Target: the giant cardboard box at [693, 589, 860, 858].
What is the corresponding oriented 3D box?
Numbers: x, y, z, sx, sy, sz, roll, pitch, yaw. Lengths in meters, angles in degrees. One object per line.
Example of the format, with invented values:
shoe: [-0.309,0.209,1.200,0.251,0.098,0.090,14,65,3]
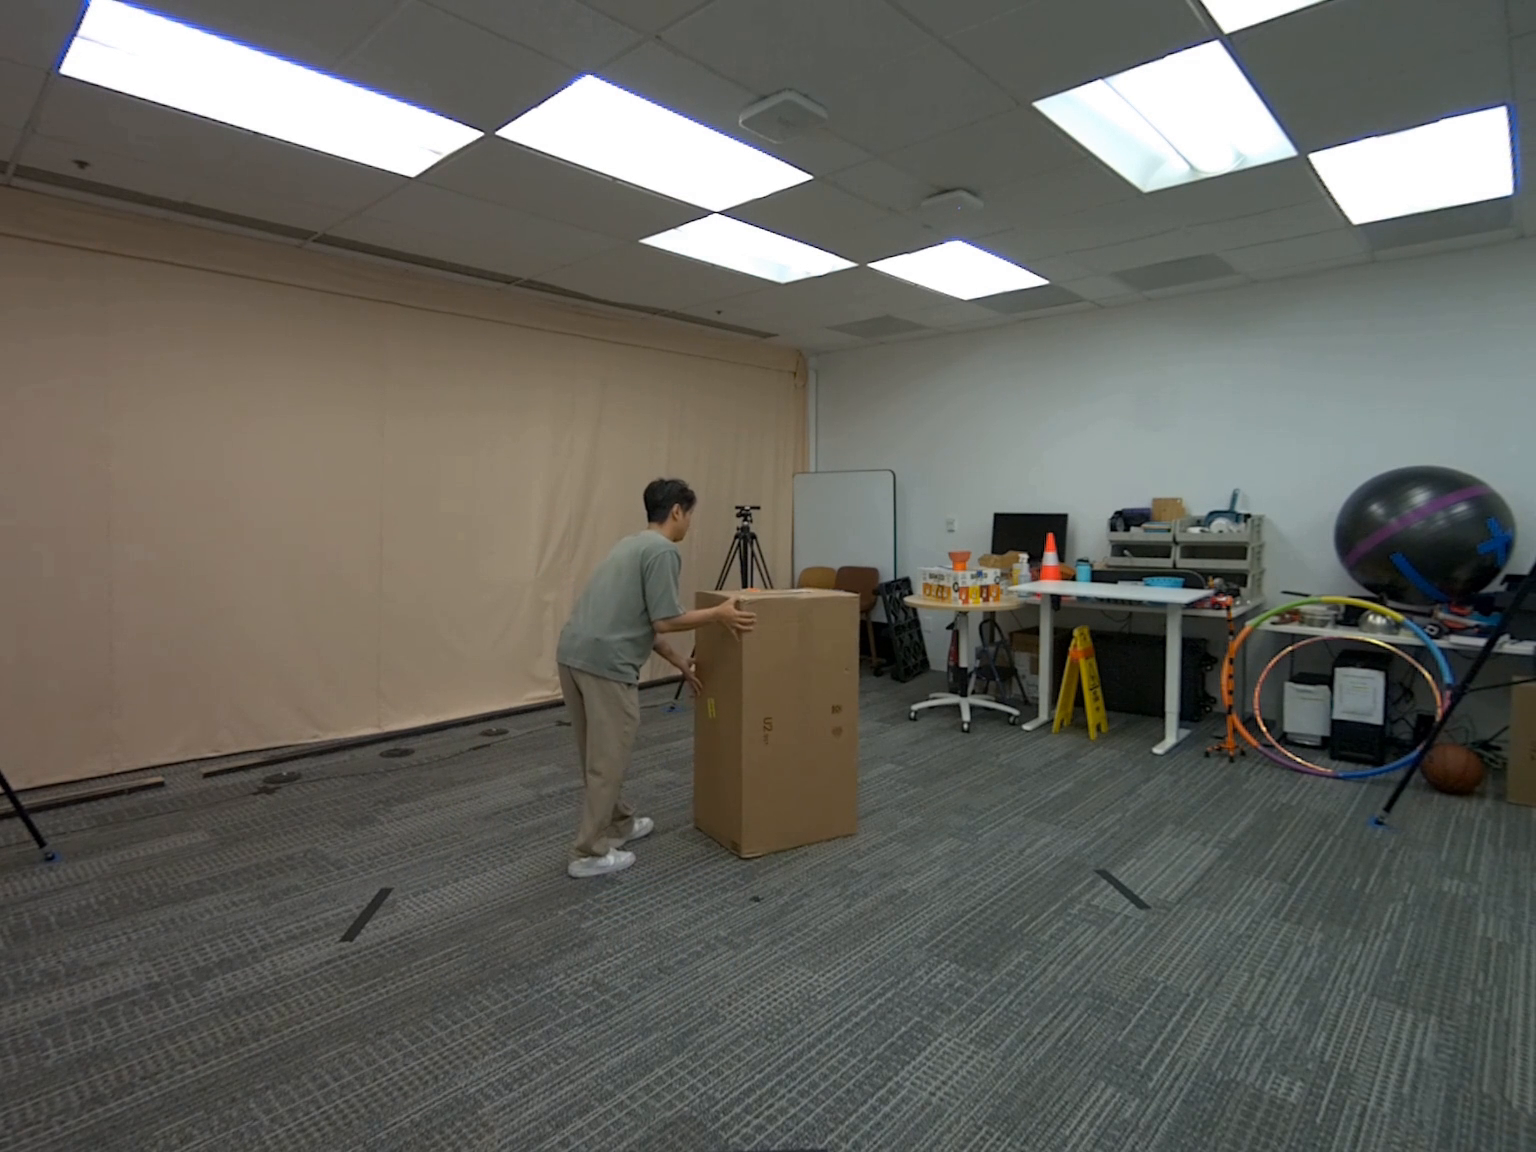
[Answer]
giant cardboard box: [0.032,0.581,3.611,0.562,1.024,0.438,0,2,-30]
